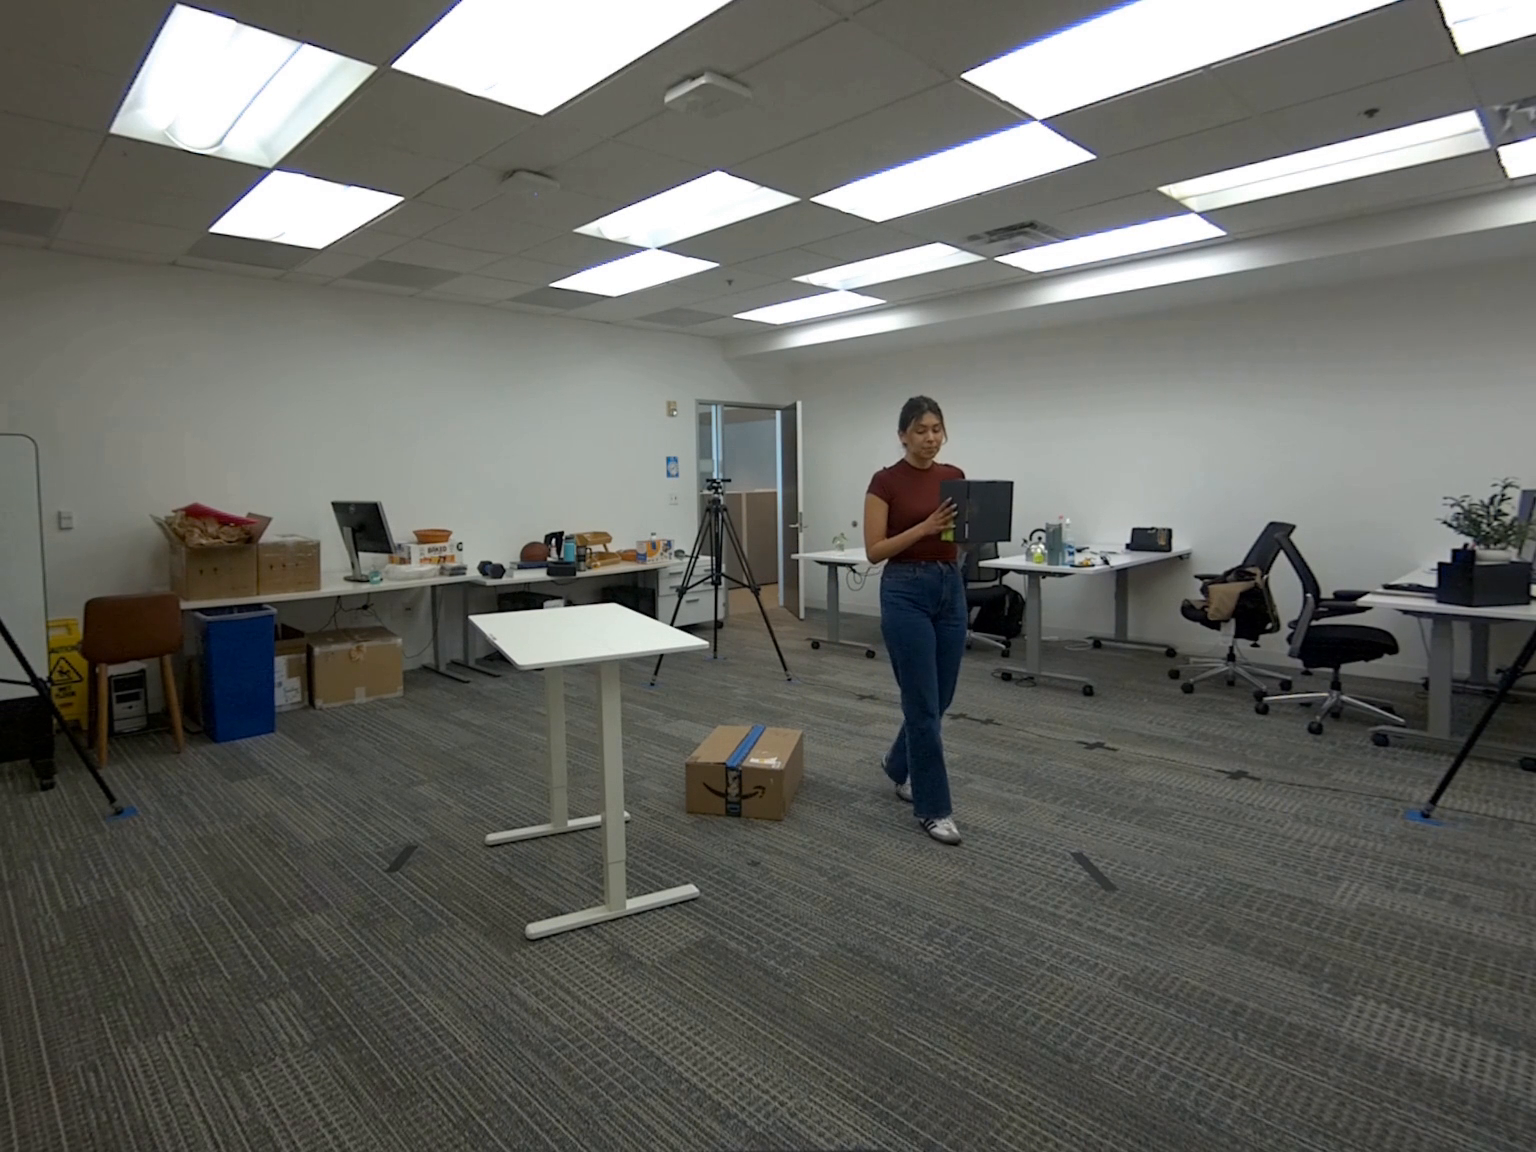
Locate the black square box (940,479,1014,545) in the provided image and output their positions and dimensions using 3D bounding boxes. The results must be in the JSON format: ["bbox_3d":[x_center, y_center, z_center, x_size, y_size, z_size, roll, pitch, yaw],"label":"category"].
[{"bbox_3d":[0.782,-0.241,3.163,0.211,0.227,0.161,-4,9,-40],"label":"black square box"}]
